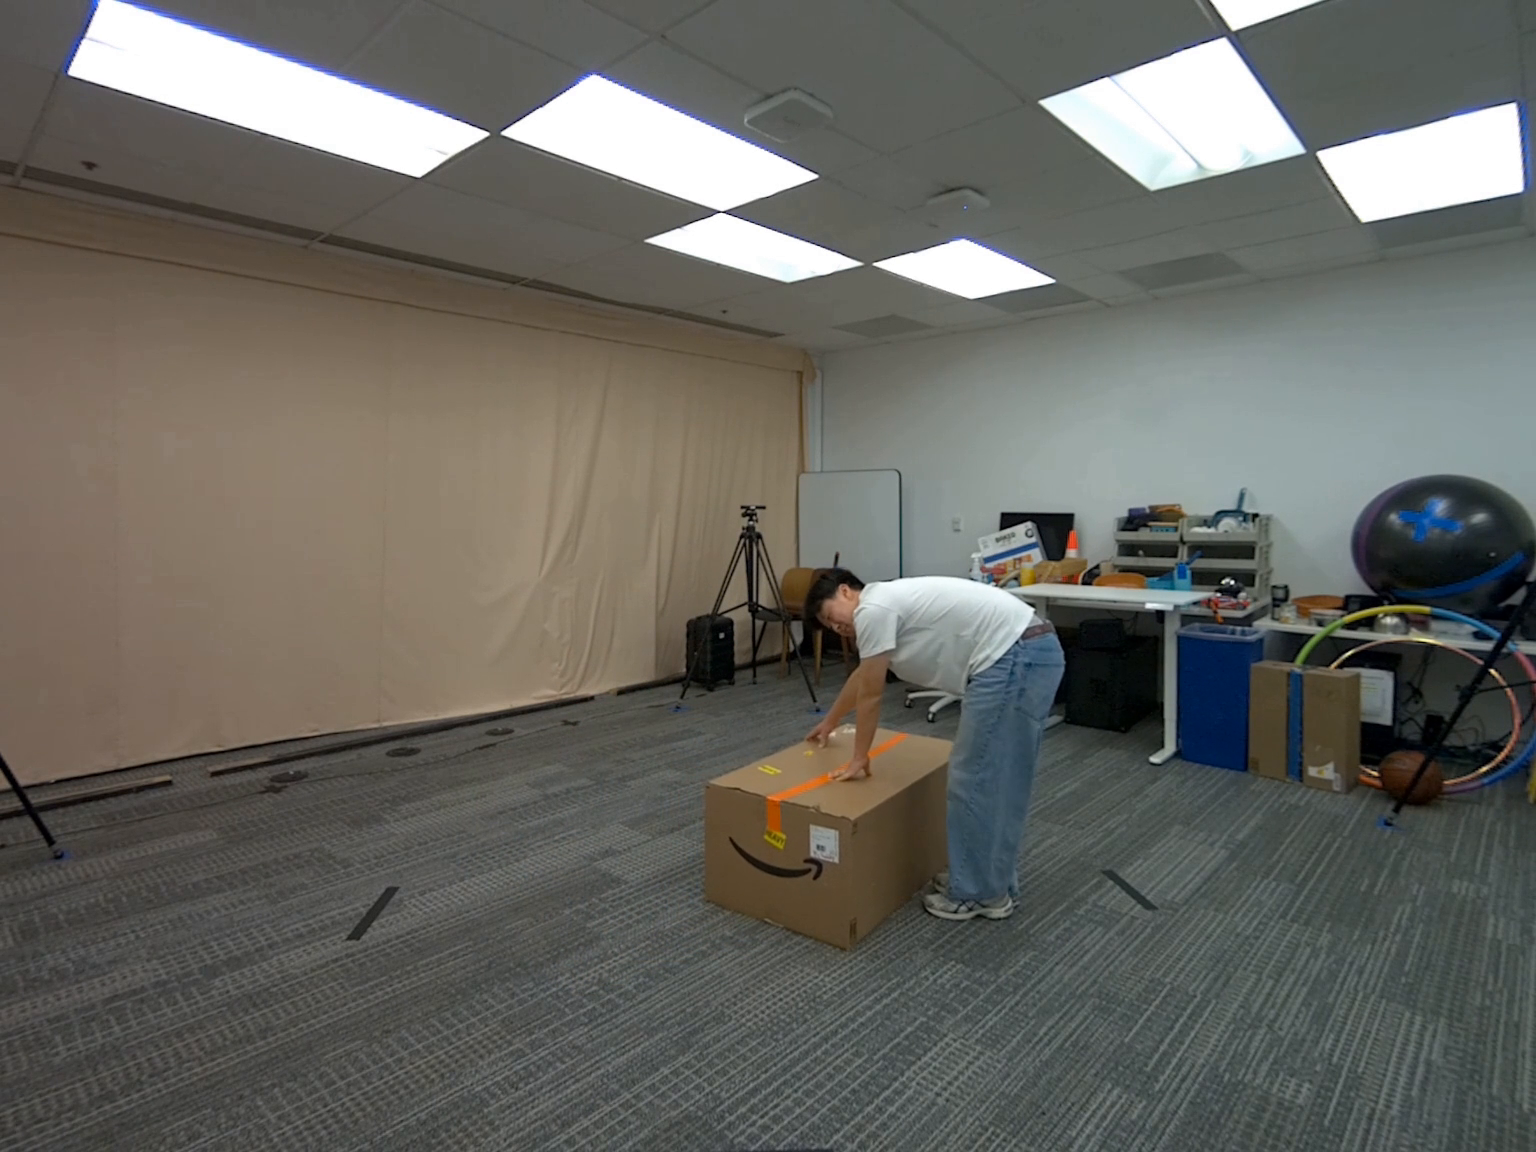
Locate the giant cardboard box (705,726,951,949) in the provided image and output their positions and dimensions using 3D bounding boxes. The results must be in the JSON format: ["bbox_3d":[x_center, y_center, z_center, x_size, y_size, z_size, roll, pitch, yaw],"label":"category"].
[{"bbox_3d":[0.304,0.915,3.185,0.596,0.425,0.996,3,5,35],"label":"giant cardboard box"}]
